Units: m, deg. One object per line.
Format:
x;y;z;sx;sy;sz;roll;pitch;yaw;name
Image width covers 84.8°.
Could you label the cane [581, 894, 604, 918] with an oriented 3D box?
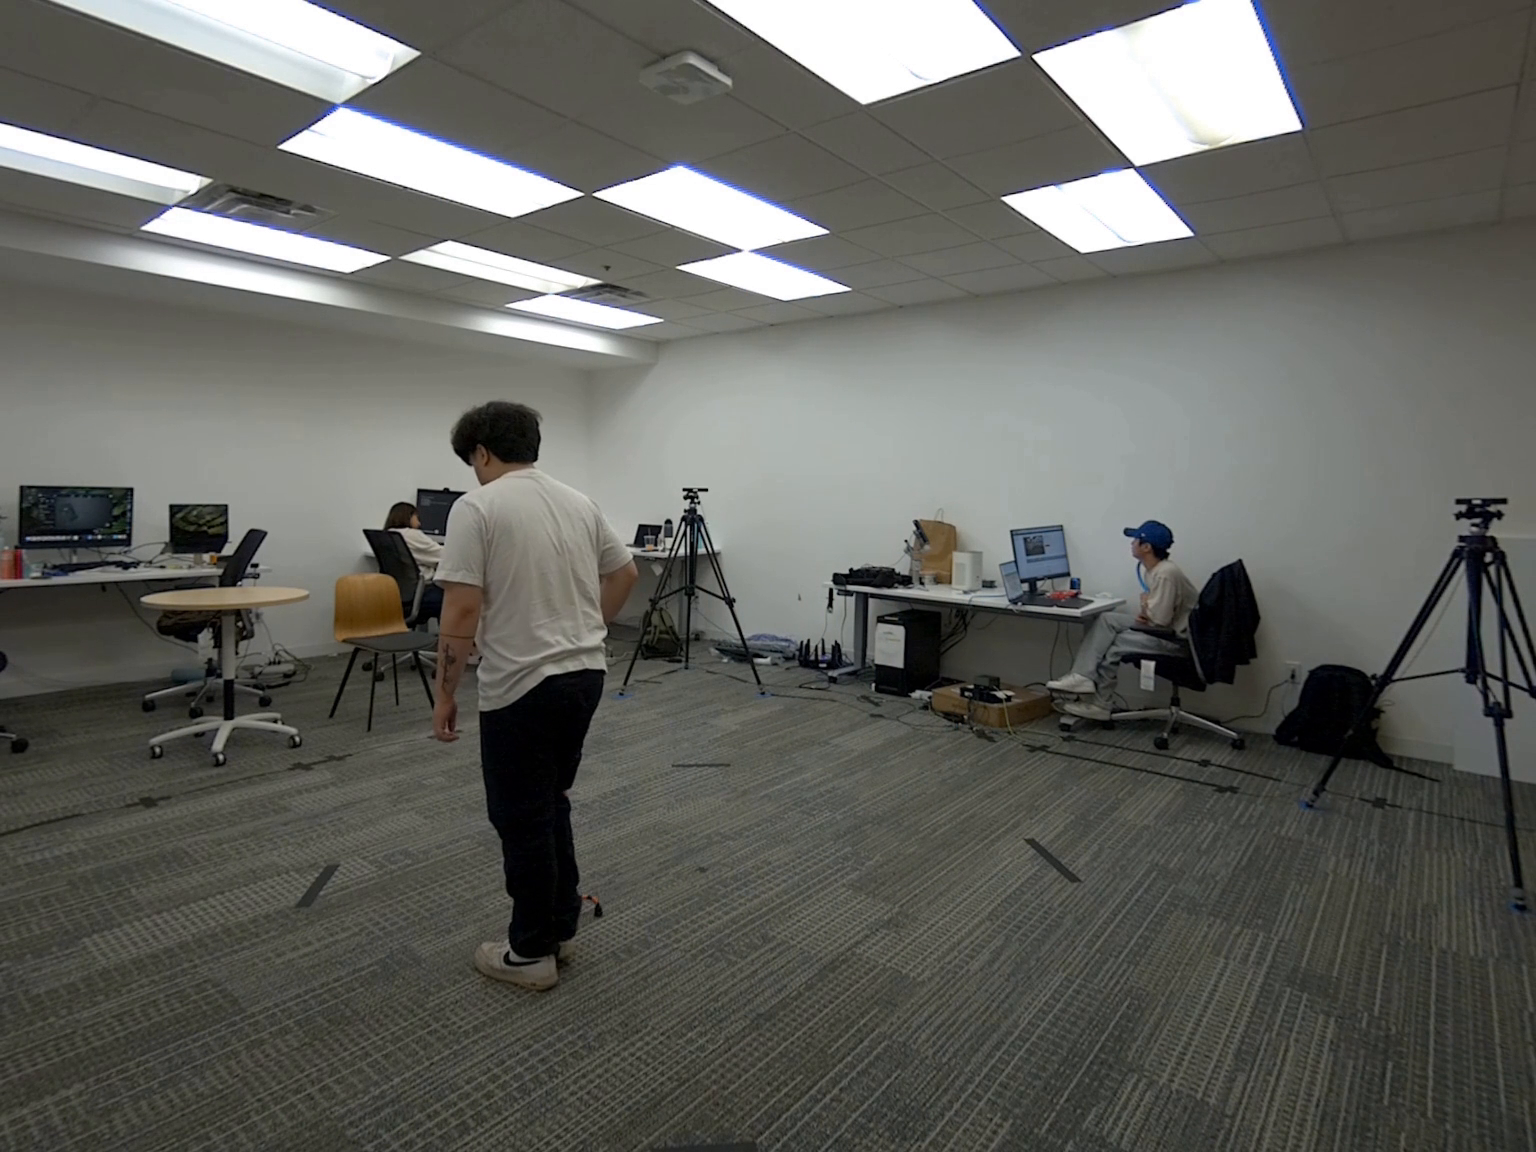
-0.661;0.640;2.769;0.147;0.906;0.213;-1;3;-41;cane
